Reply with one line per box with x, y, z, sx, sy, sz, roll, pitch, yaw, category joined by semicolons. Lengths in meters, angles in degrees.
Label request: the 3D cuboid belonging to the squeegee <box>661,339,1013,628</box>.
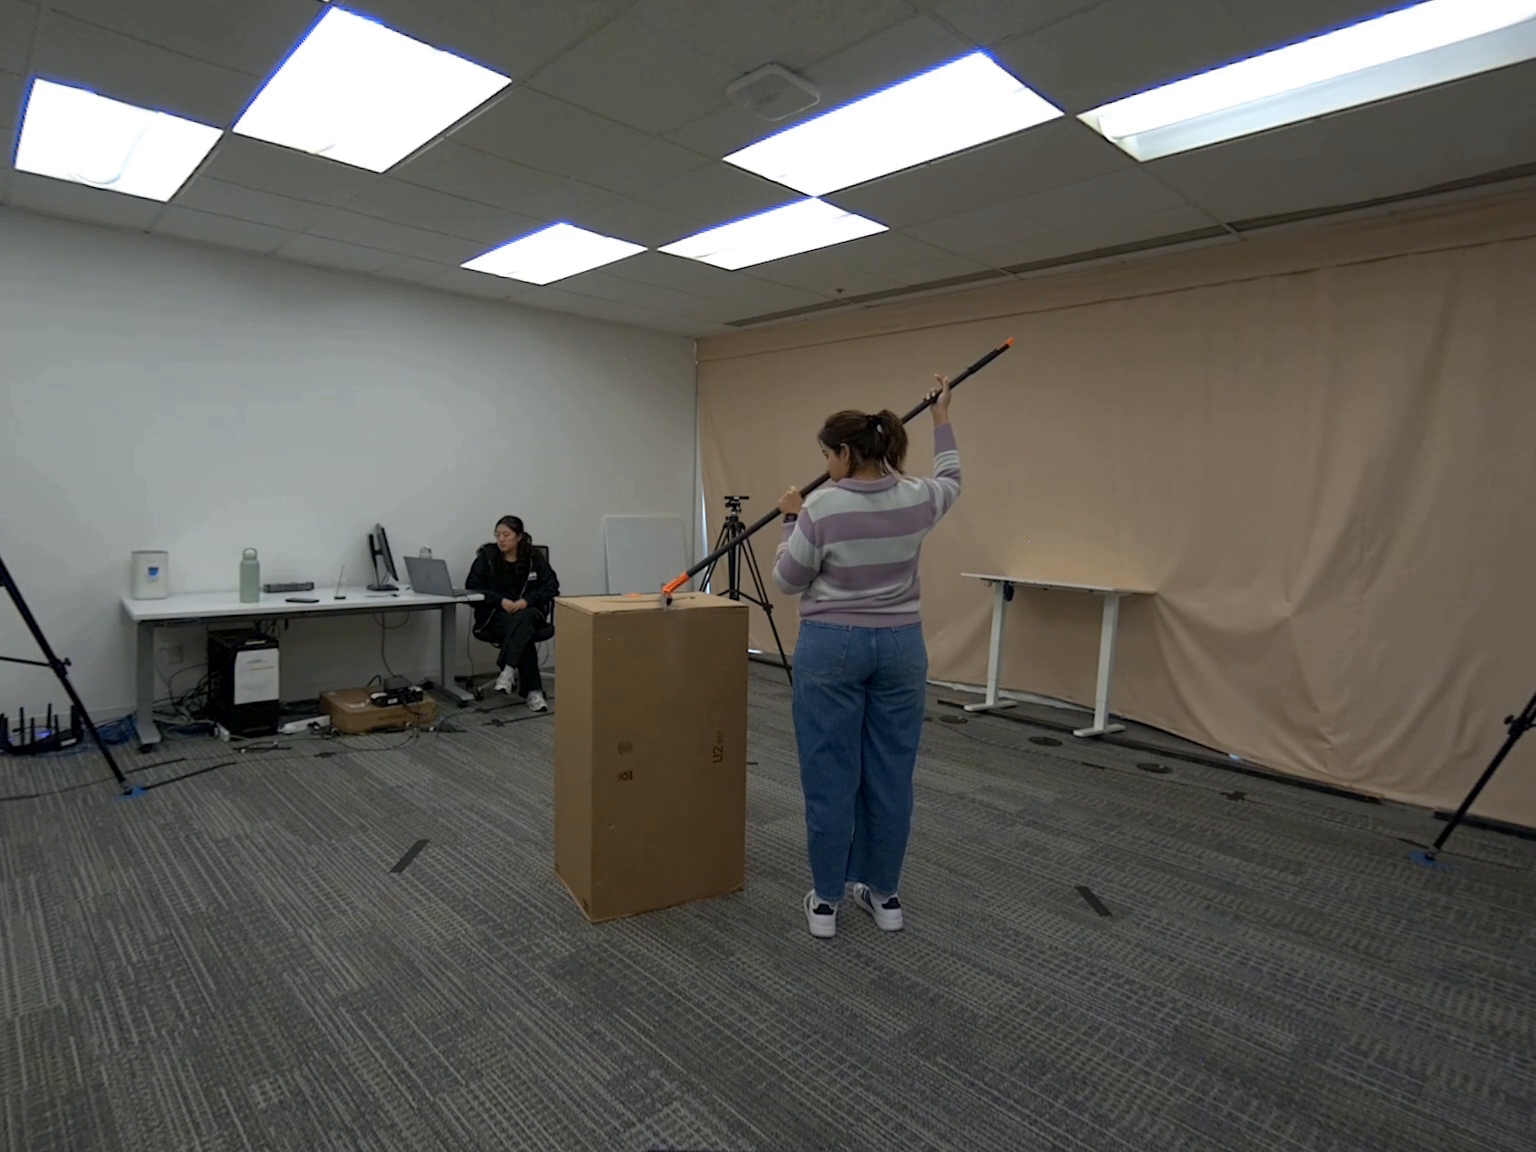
0.231;-0.373;2.953;1.537;0.052;0.442;-37;11;-2;squeegee
